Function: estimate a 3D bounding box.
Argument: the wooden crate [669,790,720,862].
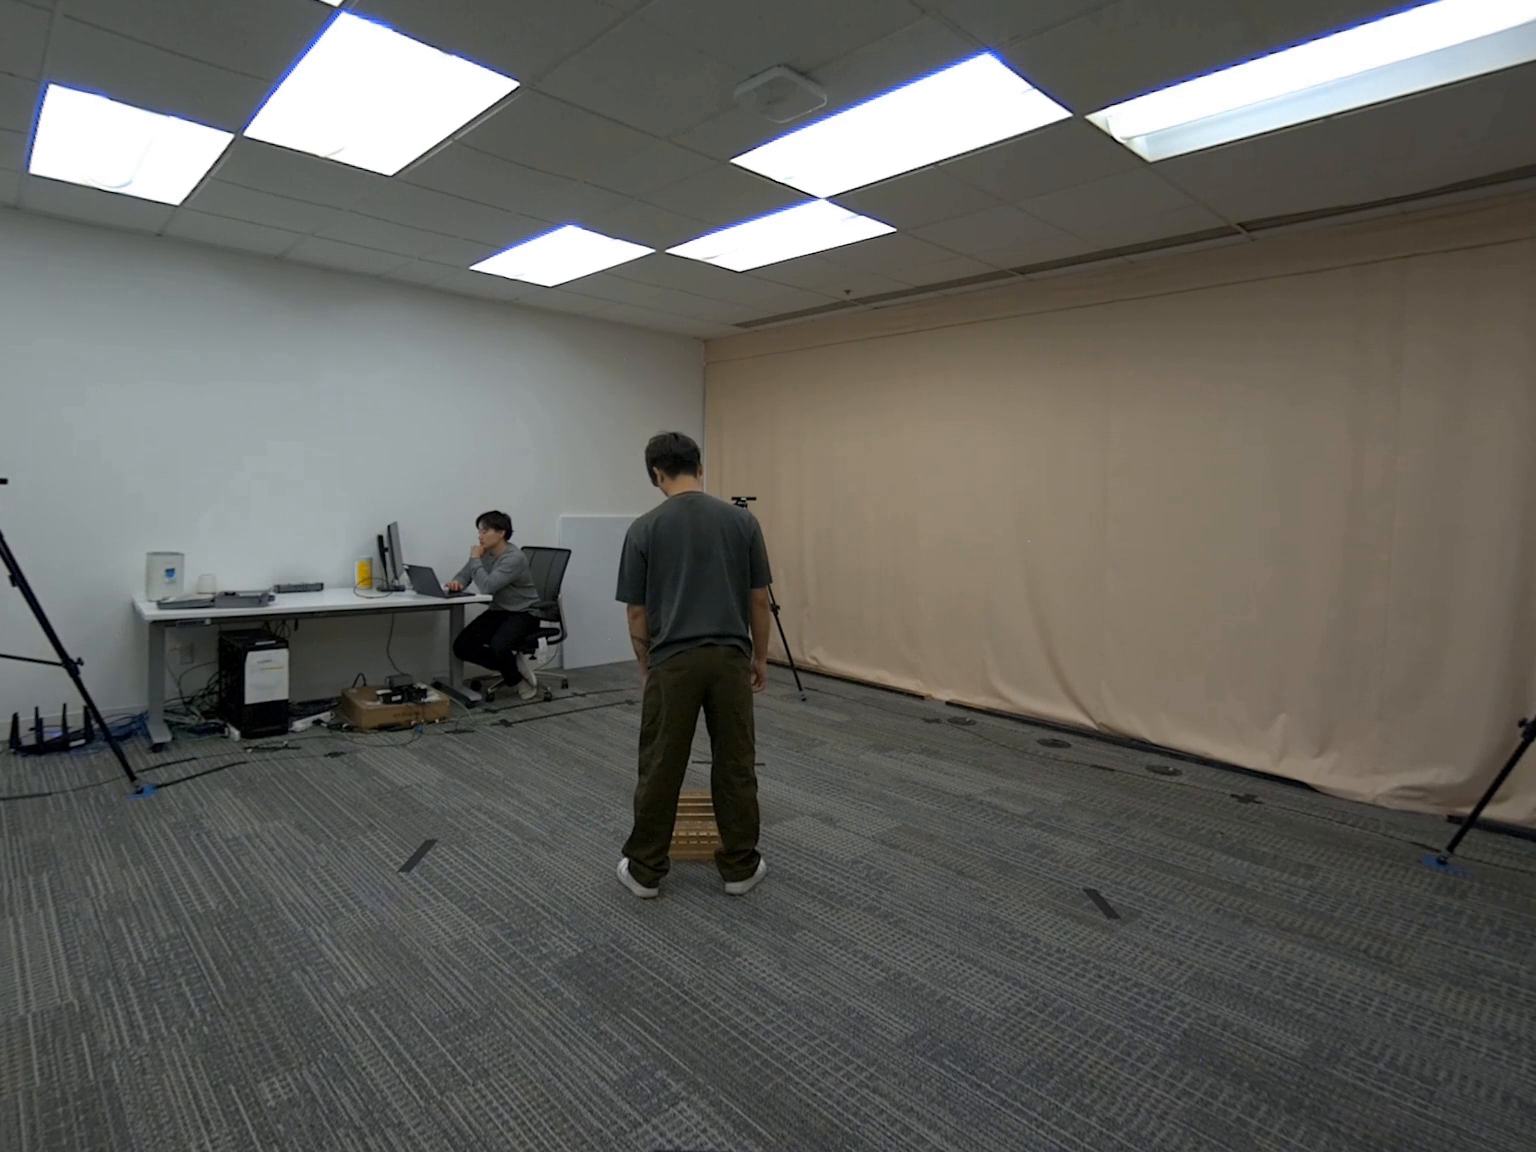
[{"bbox_3d":[-0.302,0.954,3.338,0.323,0.273,0.304,1,3,-5],"label":"wooden crate"}]
